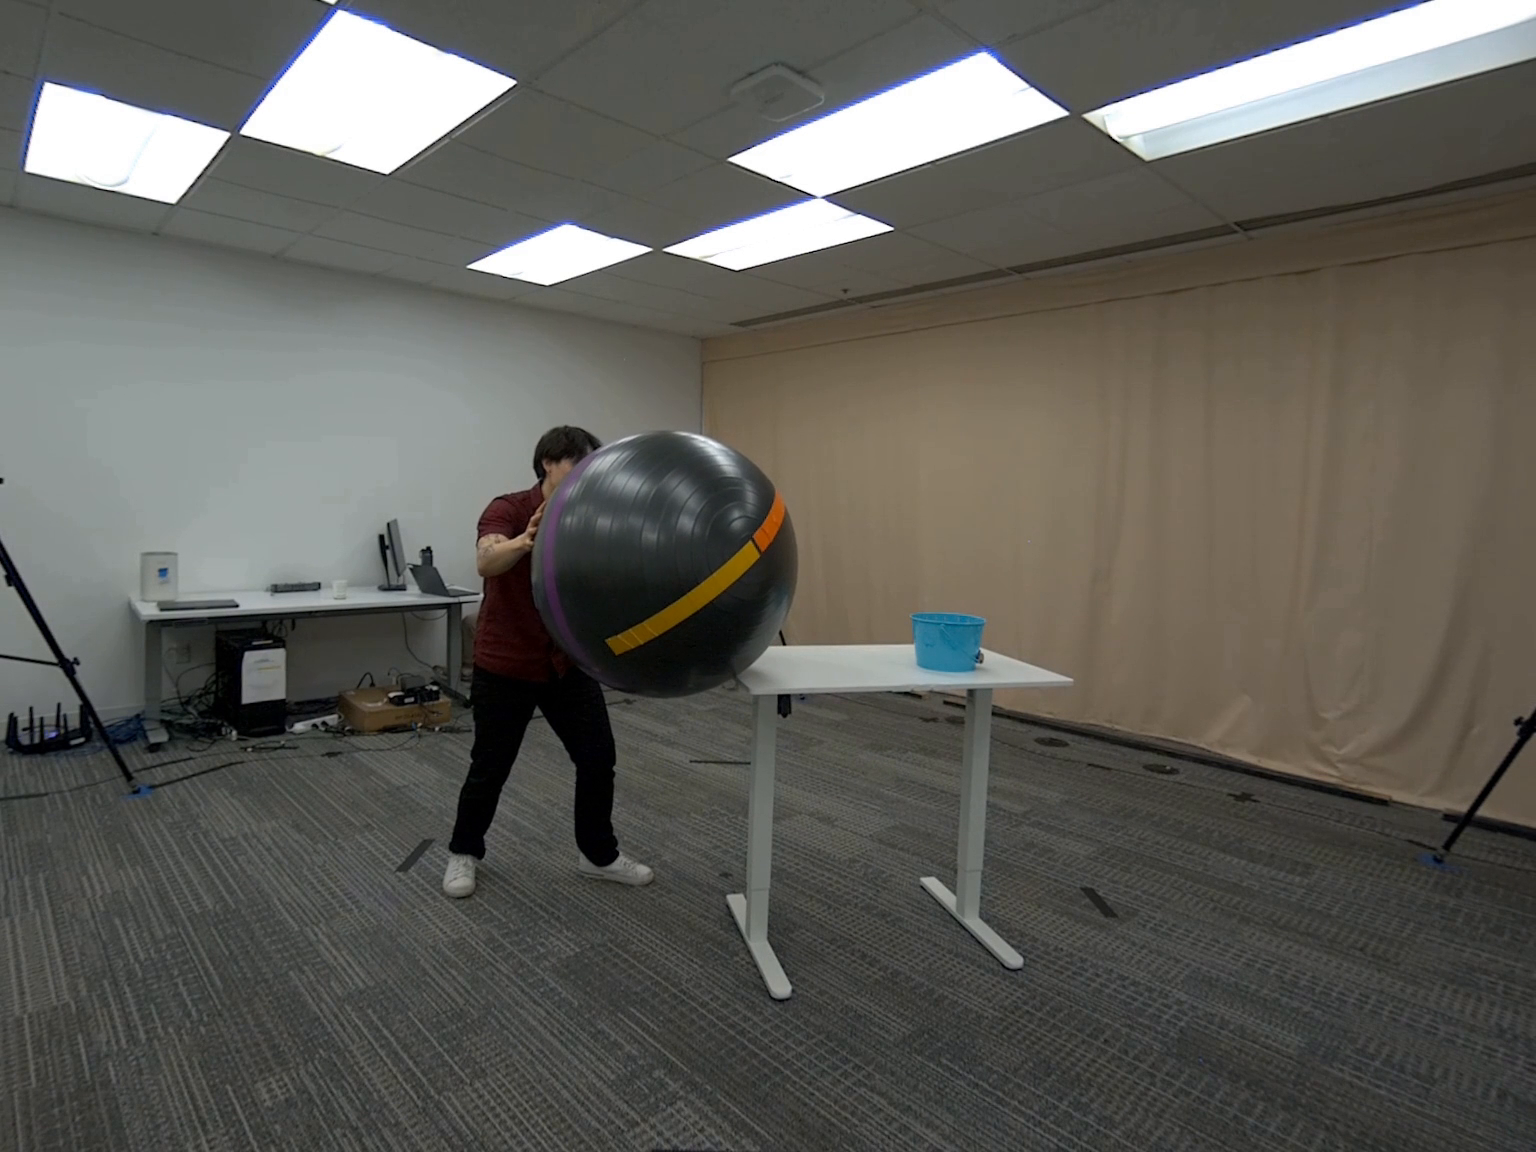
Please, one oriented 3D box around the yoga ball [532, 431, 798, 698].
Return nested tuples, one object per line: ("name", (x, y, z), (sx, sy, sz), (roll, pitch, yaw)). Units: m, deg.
("yoga ball", (-0.295, -0.028, 2.403), (0.757, 0.756, 0.760), (1, 4, -1))
